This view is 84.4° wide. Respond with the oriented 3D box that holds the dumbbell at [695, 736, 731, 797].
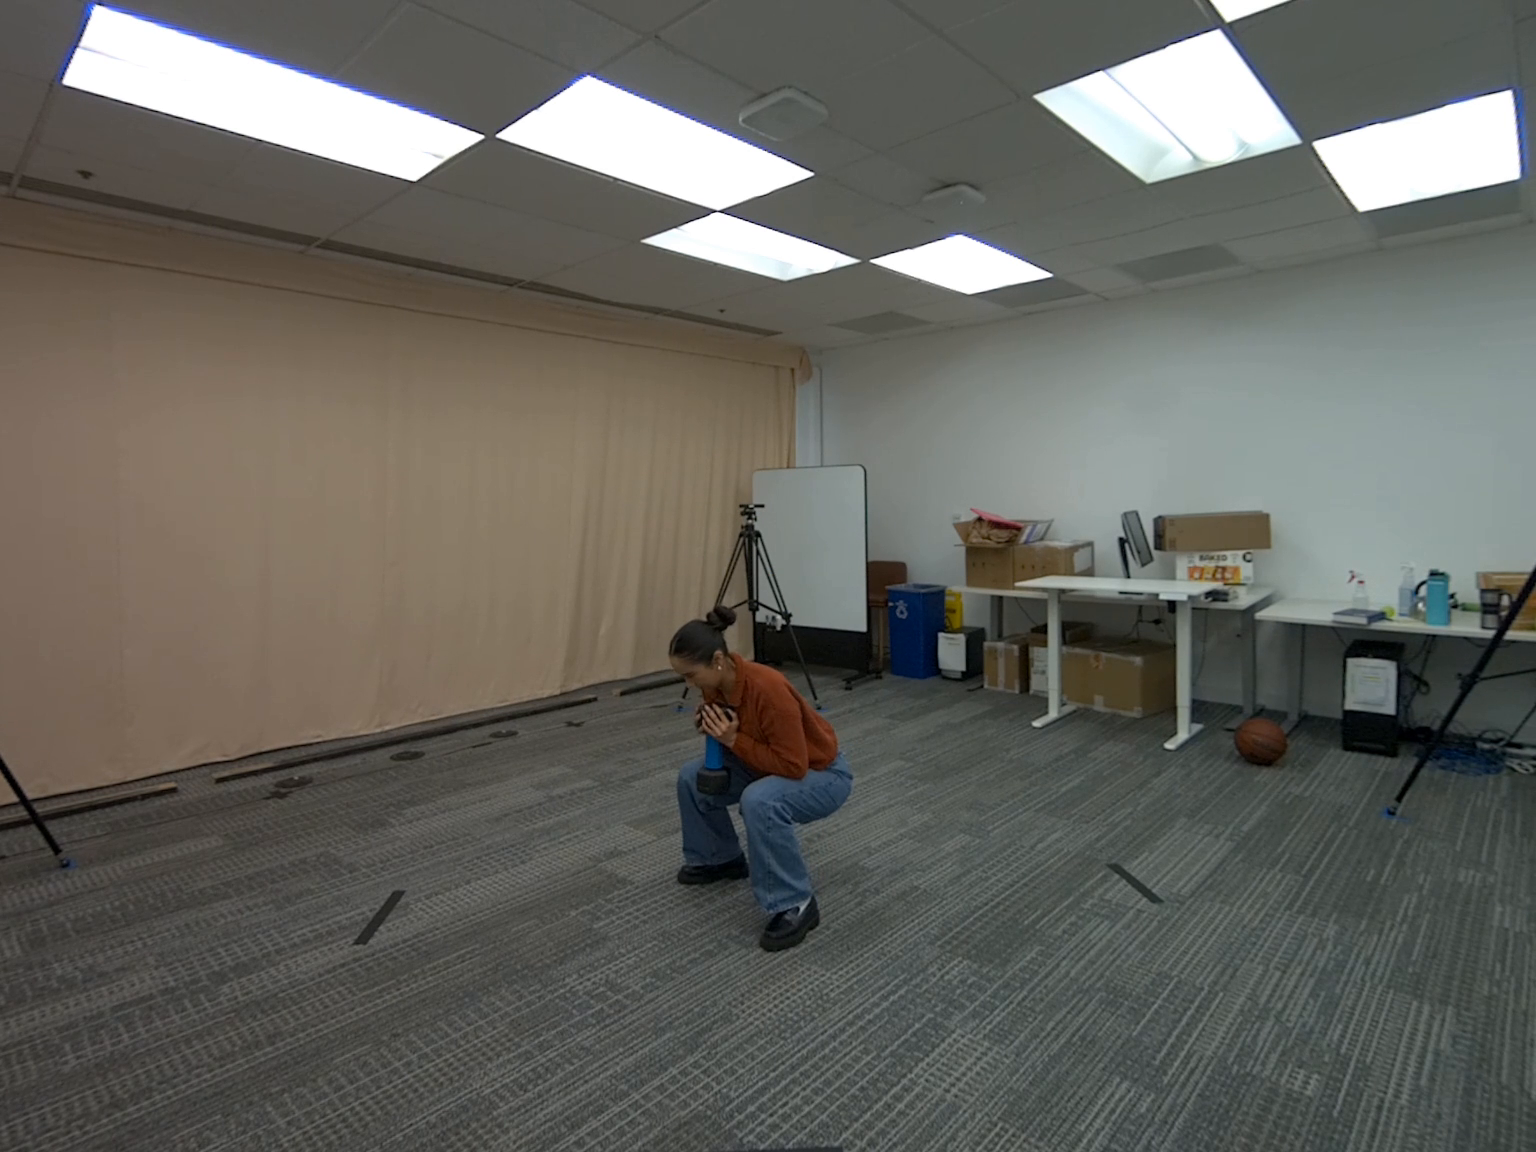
[{"bbox_3d":[-0.177,0.564,2.841,0.127,0.293,0.105,5,5,41],"label":"dumbbell"}]
